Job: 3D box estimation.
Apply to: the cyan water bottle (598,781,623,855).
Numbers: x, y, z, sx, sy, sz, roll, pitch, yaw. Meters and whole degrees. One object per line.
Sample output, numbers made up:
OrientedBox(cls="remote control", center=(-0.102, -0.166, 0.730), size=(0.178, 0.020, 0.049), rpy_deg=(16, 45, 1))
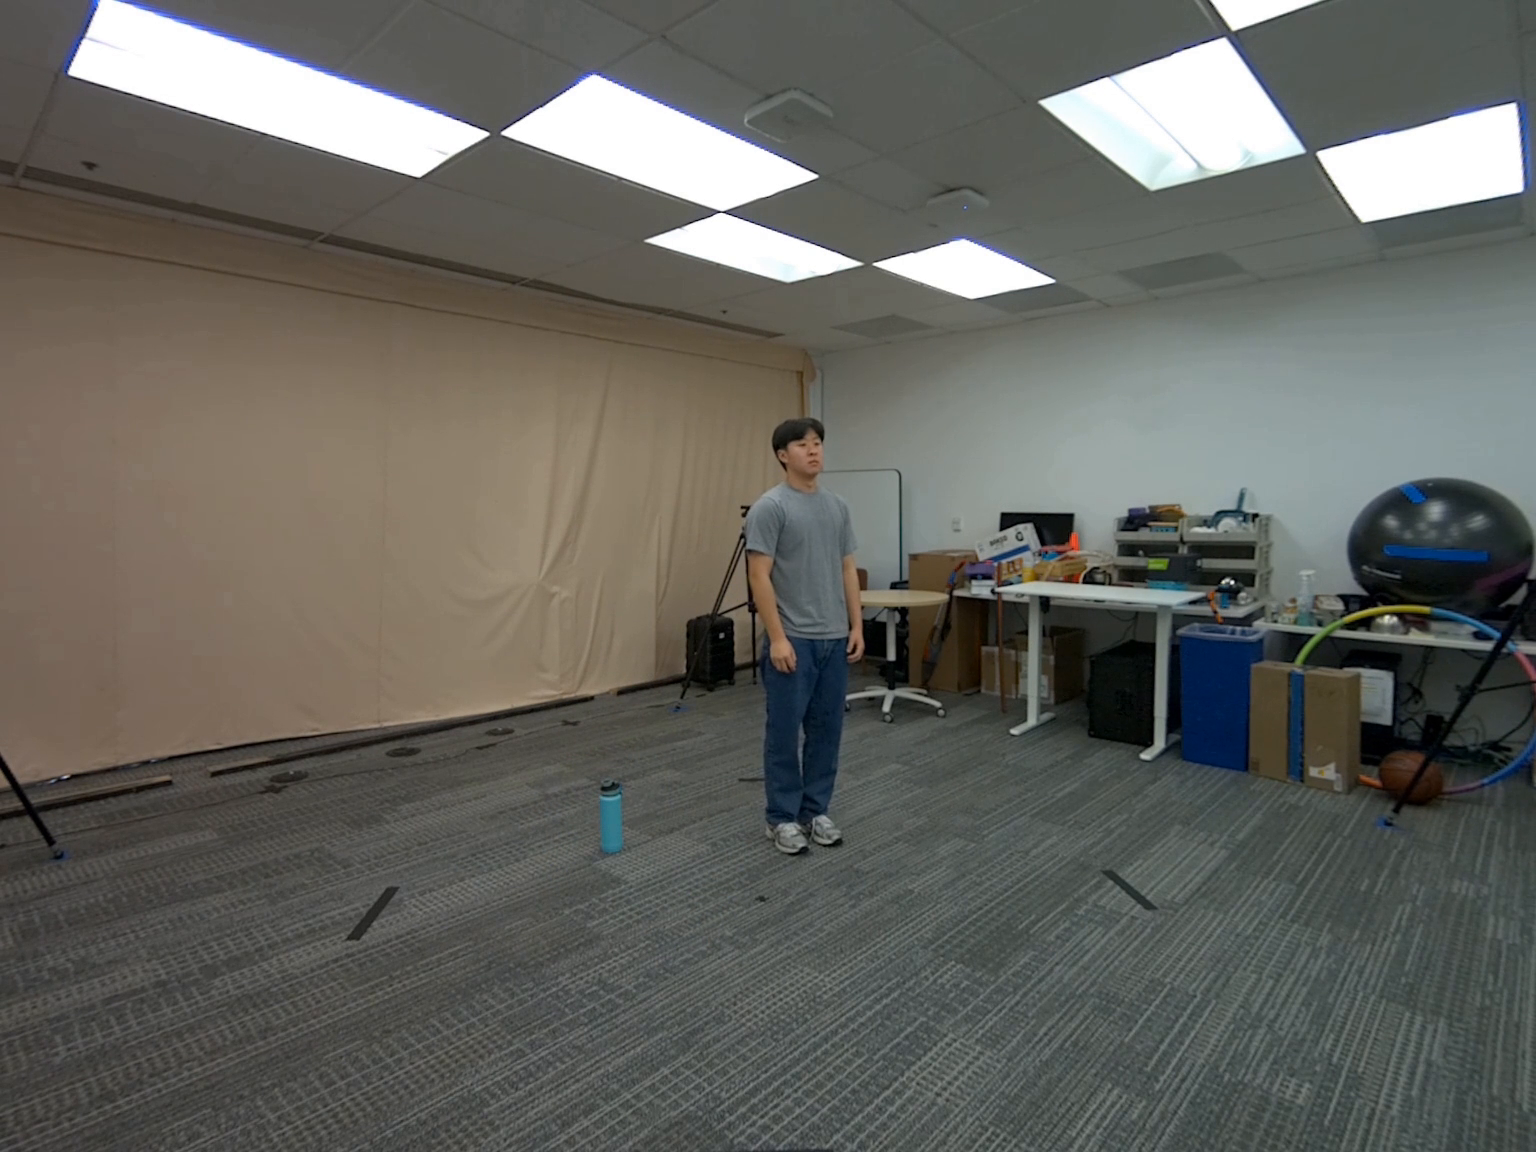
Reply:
OrientedBox(cls="cyan water bottle", center=(-0.641, 0.975, 3.425), size=(0.092, 0.283, 0.092), rpy_deg=(0, 2, -2))
